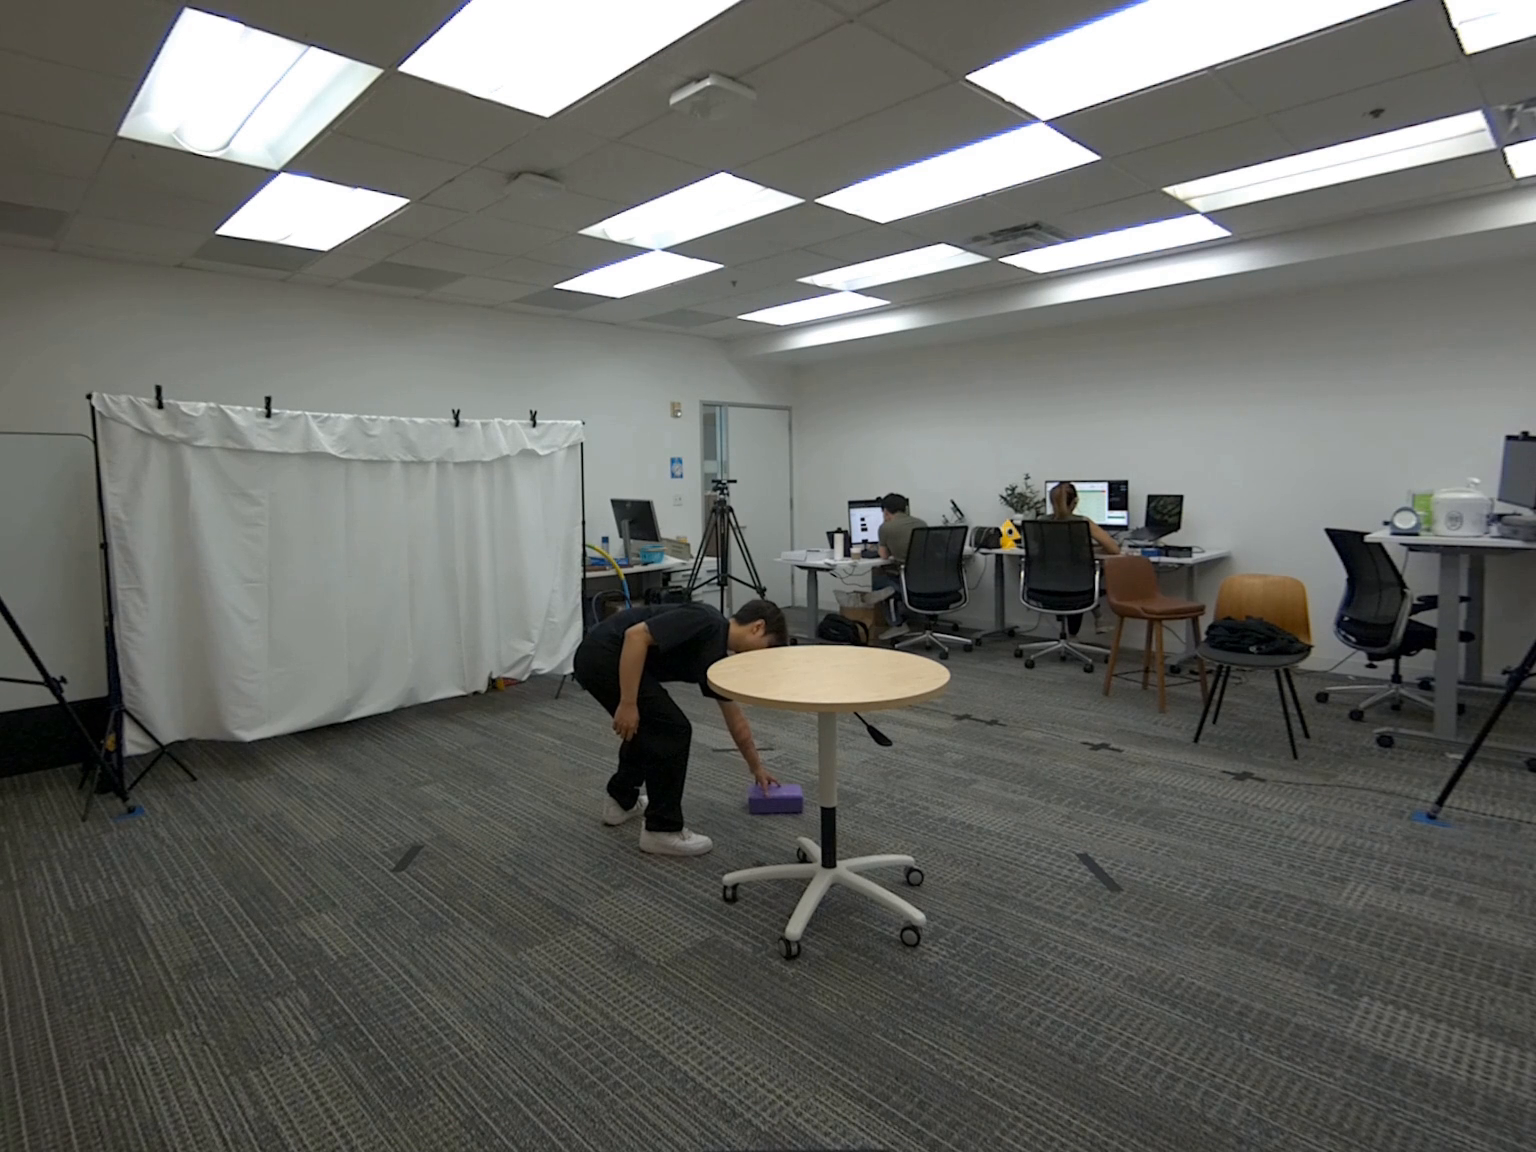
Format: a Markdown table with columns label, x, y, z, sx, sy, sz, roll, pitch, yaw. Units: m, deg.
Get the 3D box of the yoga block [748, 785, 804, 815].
| label | x | y | z | sx | sy | sz | roll | pitch | yaw |
| --- | --- | --- | --- | --- | --- | --- | --- | --- | --- |
| yoga block | 0.029 | 0.947 | 3.632 | 0.229 | 0.076 | 0.150 | -2 | 6 | 0 |
